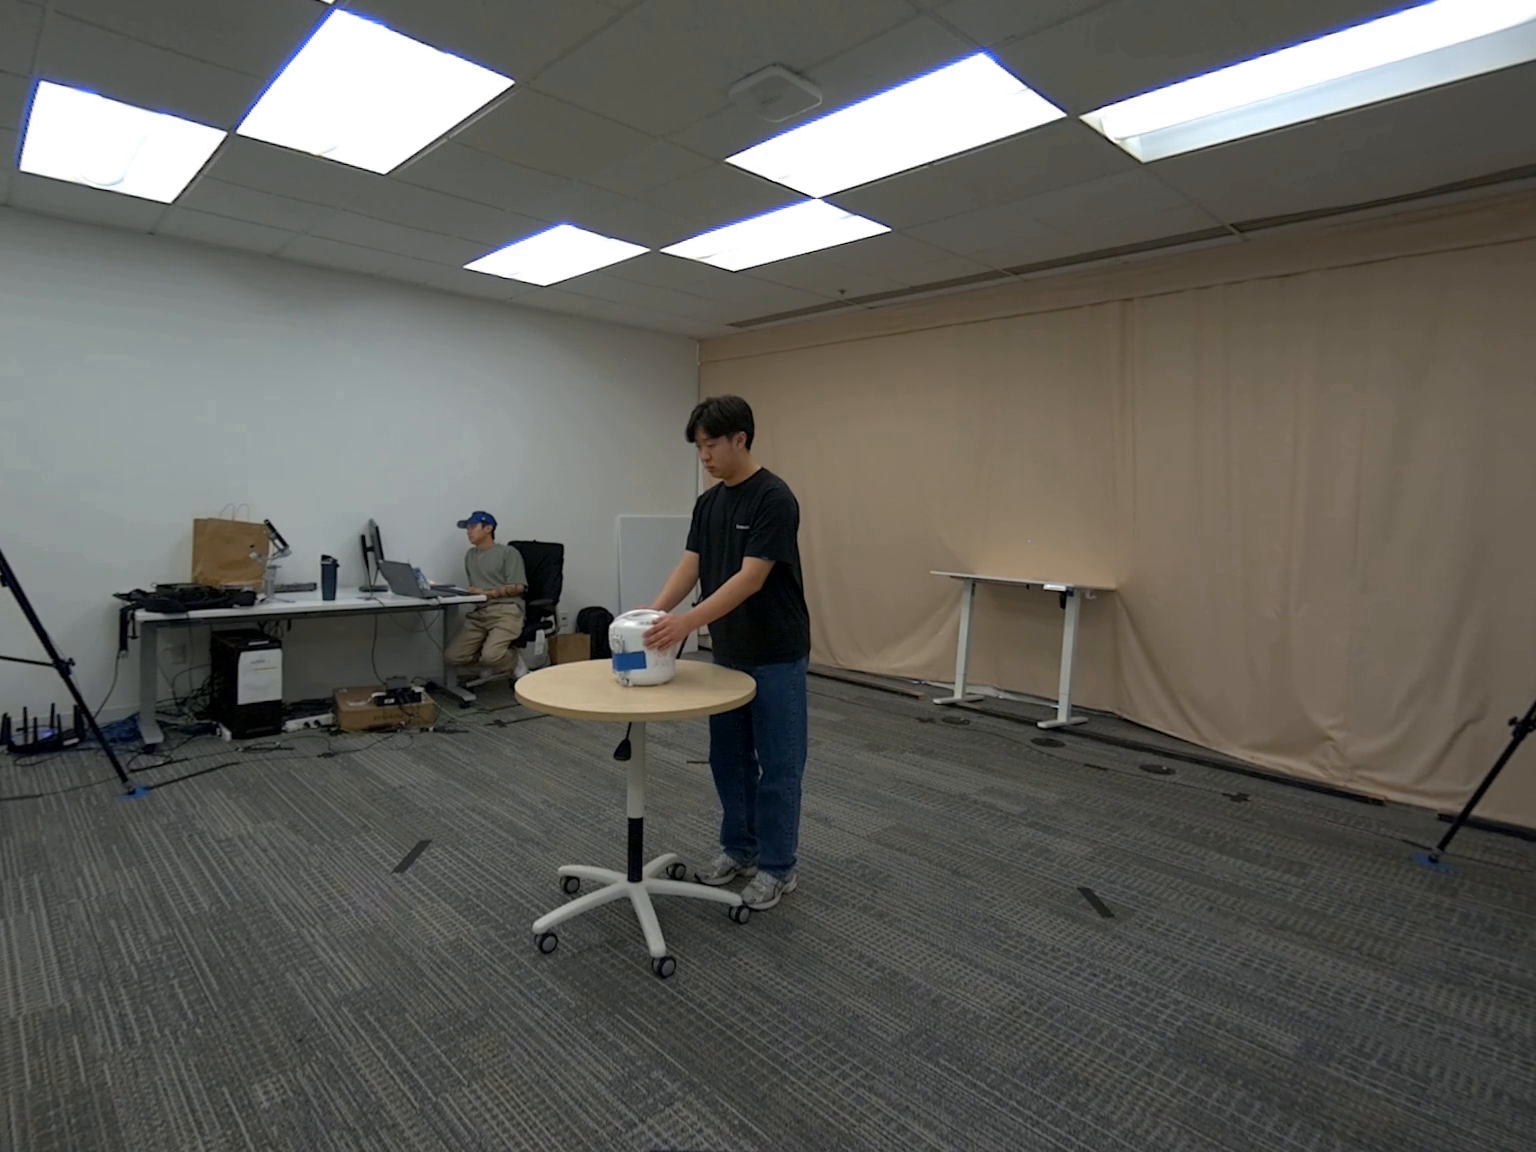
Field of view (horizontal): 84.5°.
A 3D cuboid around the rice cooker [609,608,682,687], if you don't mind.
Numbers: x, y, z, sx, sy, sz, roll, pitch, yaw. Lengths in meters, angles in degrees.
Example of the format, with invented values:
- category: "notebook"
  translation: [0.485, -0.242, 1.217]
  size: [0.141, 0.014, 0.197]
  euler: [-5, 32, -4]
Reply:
- category: "rice cooker"
  translation: [-0.405, 0.226, 2.717]
  size: [0.218, 0.232, 0.220]
  euler: [1, 4, -13]
